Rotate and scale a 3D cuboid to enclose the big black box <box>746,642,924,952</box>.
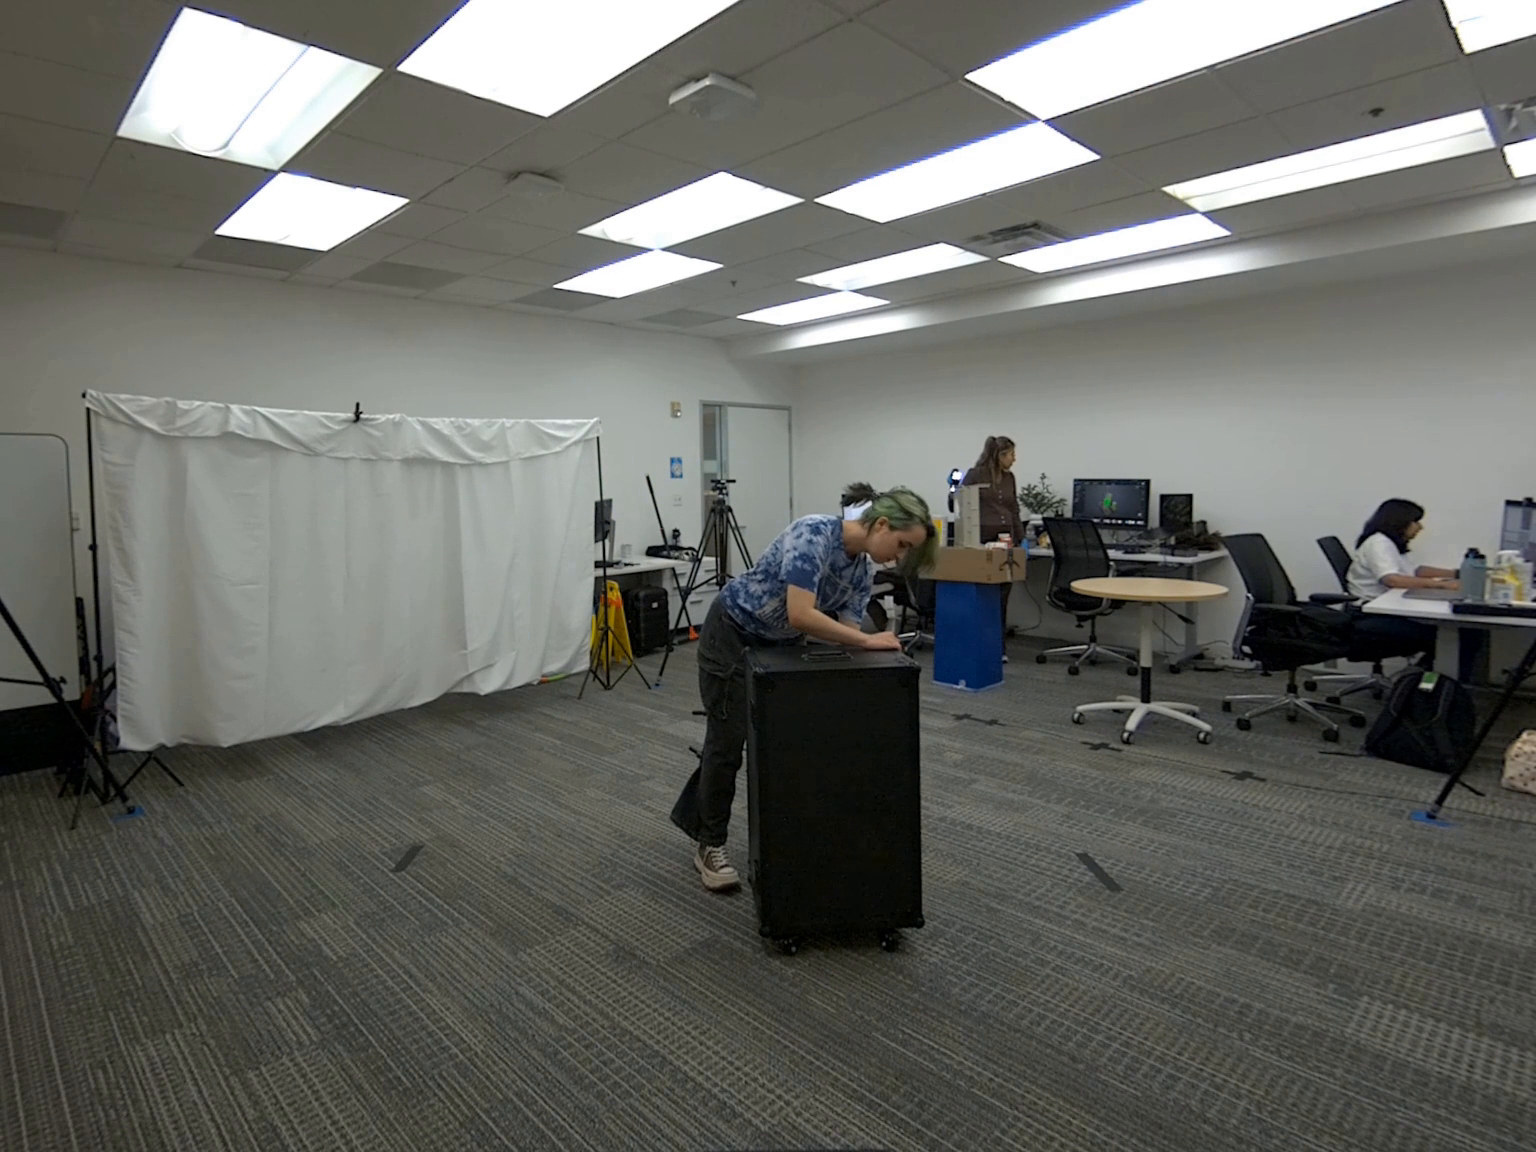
[{"bbox_3d":[0.189,0.679,2.647,0.519,0.859,0.399,-3,3,-5],"label":"big black box"}]
